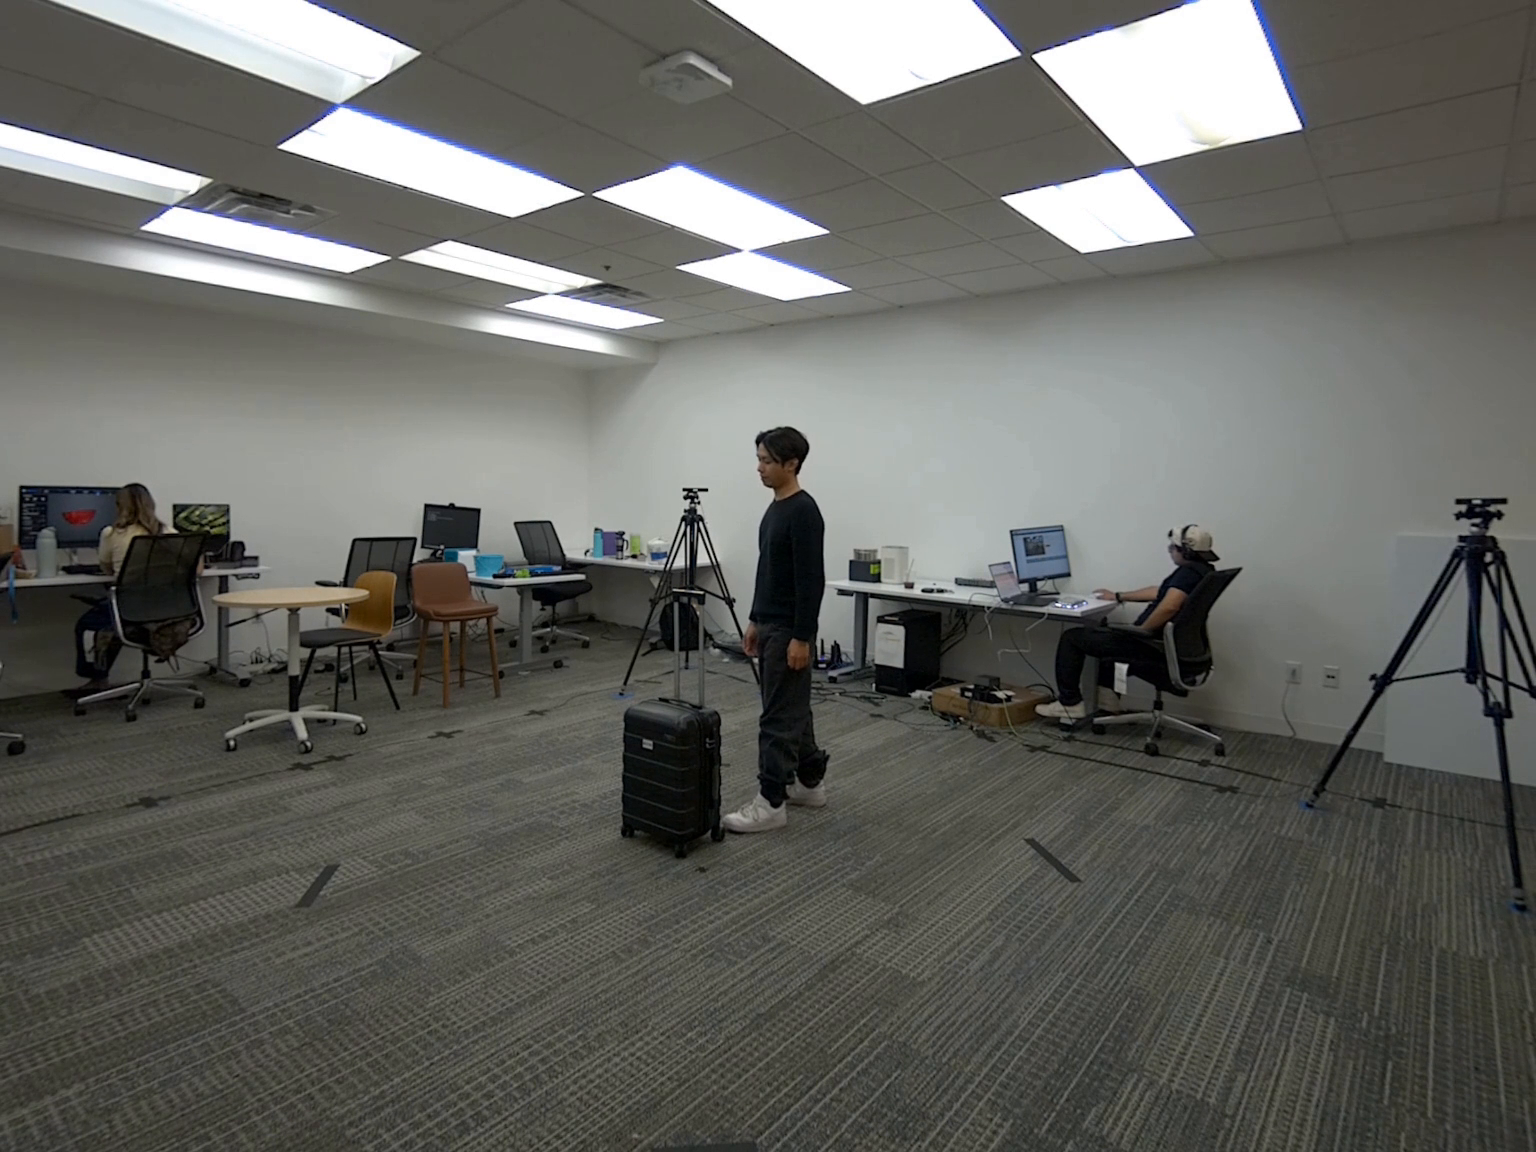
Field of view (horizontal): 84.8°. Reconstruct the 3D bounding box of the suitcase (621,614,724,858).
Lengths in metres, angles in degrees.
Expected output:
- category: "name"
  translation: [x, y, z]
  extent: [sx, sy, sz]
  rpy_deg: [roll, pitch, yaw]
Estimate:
- category: "suitcase"
  translation: [-0.388, 0.567, 3.341]
  extent: [0.397, 0.974, 0.250]
  rpy_deg: [4, 6, 38]
